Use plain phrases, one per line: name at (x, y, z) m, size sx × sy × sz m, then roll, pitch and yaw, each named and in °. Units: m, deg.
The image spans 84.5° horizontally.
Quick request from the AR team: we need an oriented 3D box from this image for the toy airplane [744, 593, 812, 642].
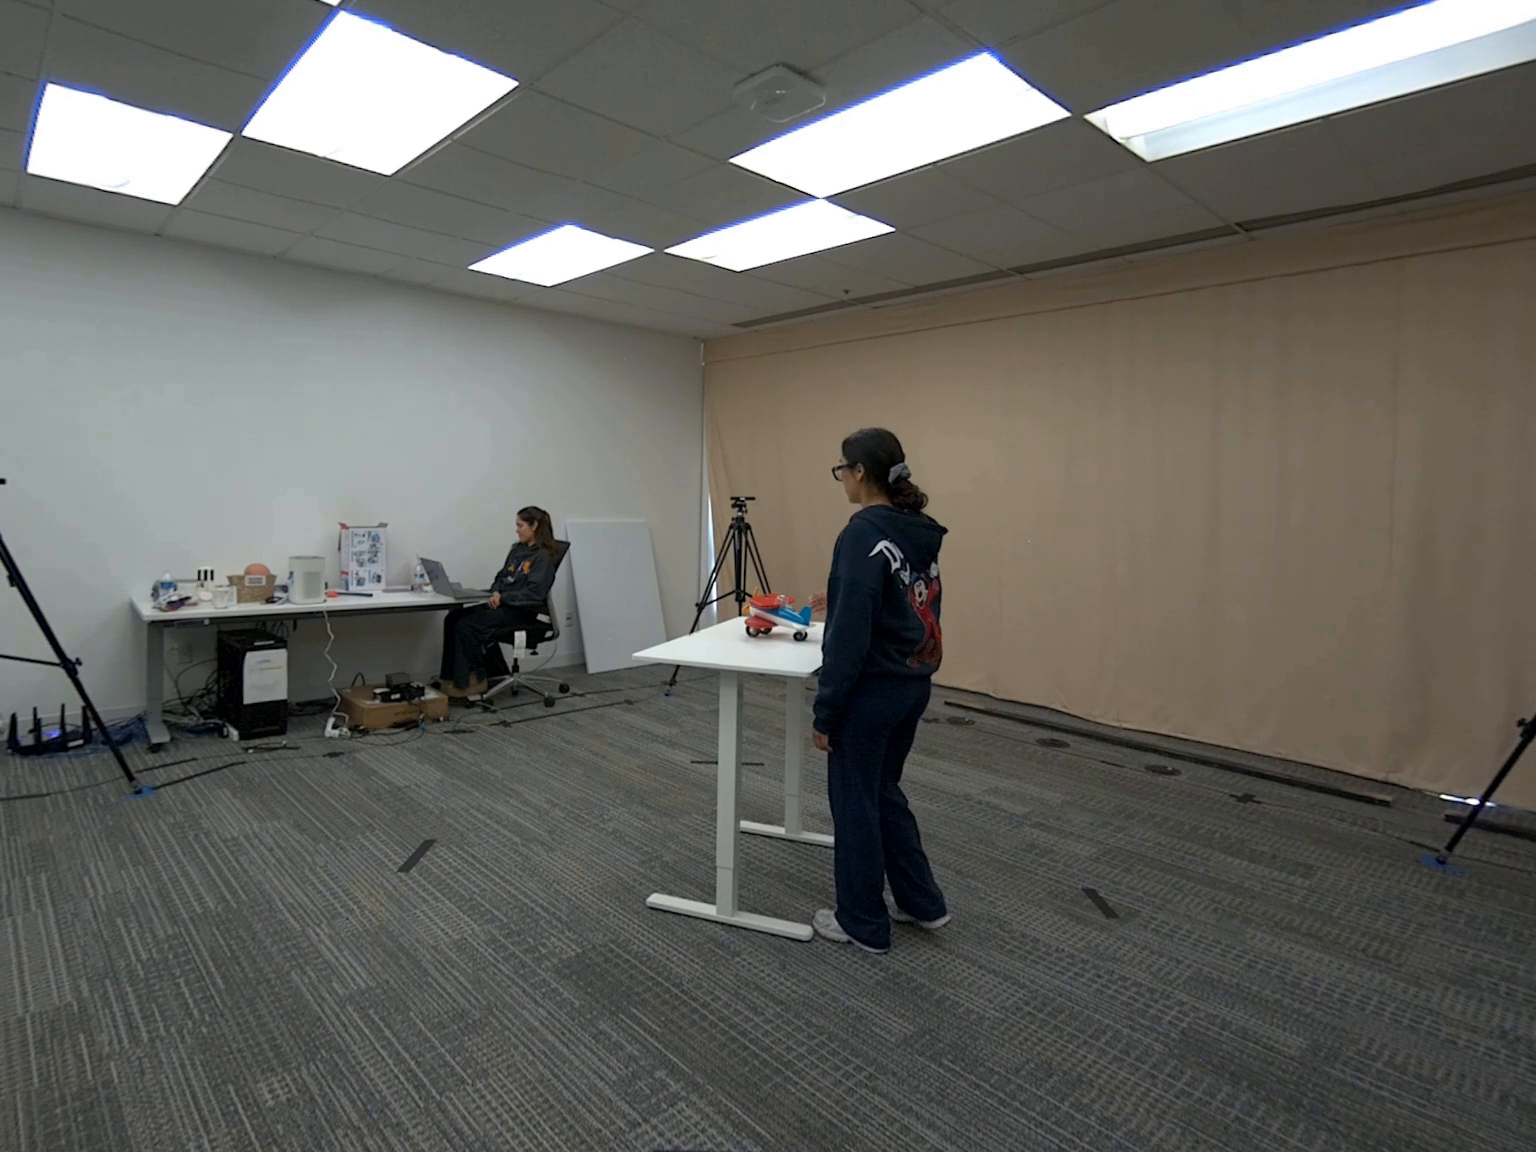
toy airplane at (0.039, 0.152, 3.127) m, size 0.260 × 0.156 × 0.251 m, roll 0°, pitch 5°, yaw 4°
